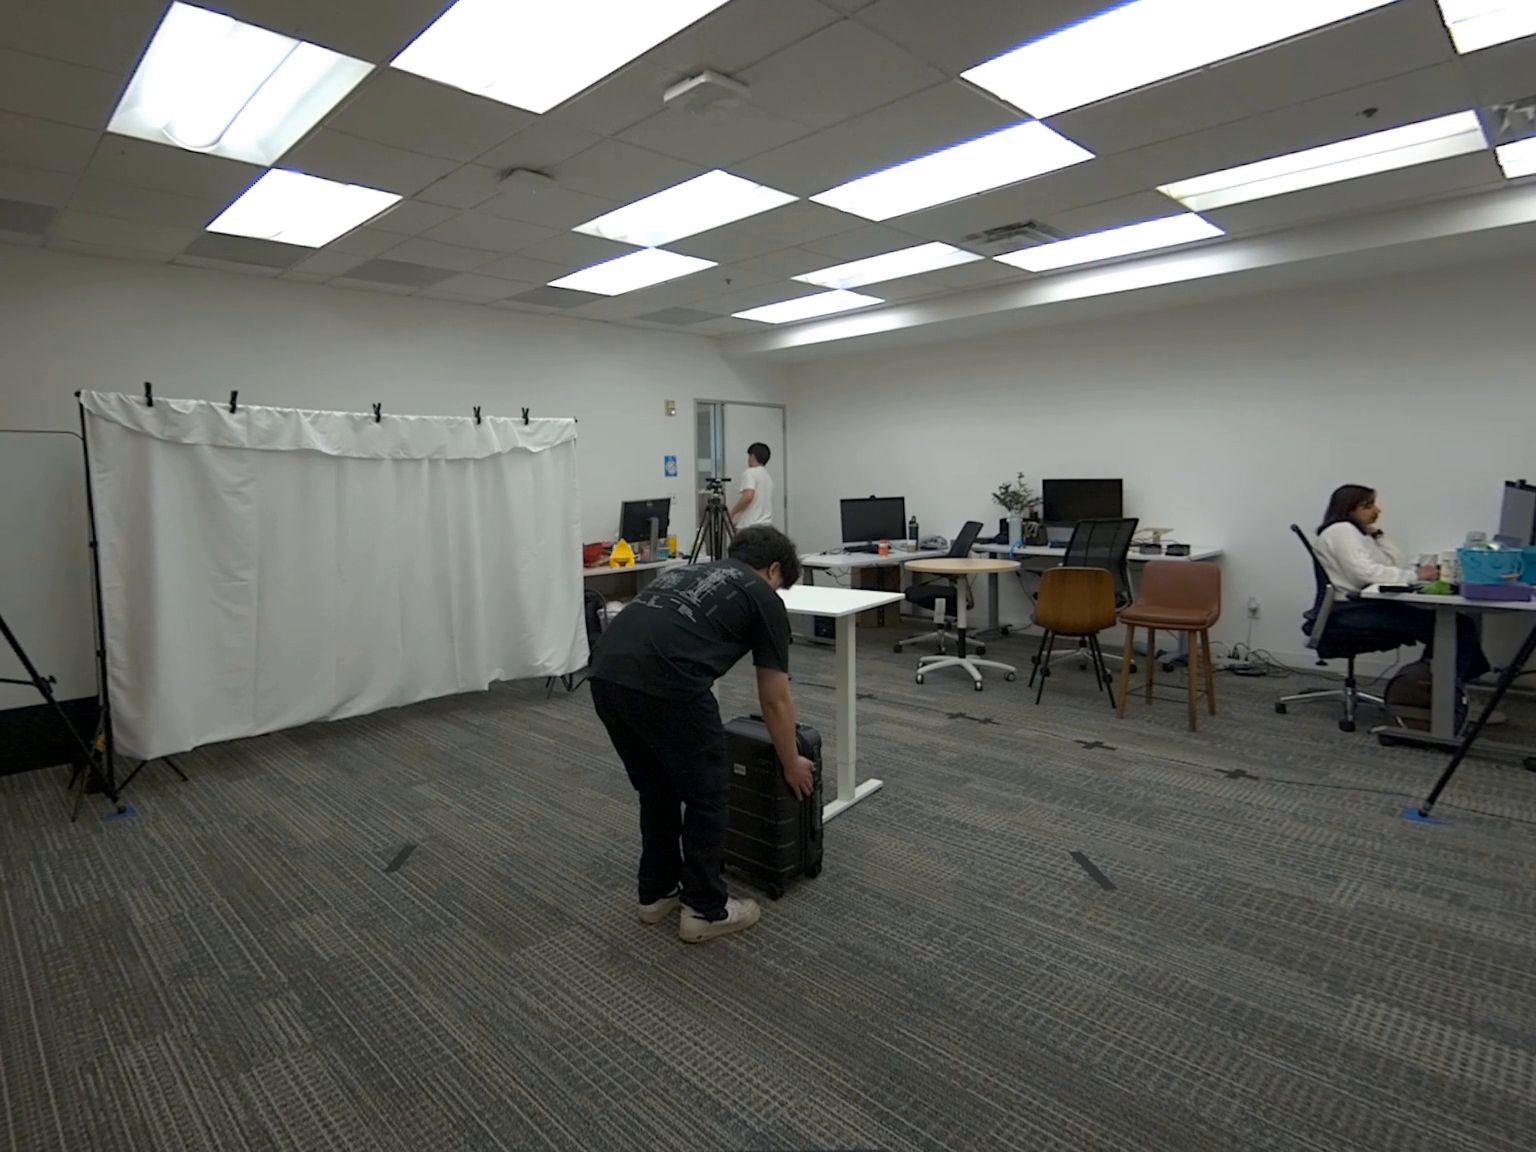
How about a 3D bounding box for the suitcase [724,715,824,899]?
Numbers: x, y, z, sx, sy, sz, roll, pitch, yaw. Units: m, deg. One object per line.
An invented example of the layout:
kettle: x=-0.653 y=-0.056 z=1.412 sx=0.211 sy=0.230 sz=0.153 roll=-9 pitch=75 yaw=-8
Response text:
suitcase: x=0.003 y=0.784 z=2.993 sx=0.387 sy=0.547 sz=0.242 roll=4 pitch=6 yaw=43
